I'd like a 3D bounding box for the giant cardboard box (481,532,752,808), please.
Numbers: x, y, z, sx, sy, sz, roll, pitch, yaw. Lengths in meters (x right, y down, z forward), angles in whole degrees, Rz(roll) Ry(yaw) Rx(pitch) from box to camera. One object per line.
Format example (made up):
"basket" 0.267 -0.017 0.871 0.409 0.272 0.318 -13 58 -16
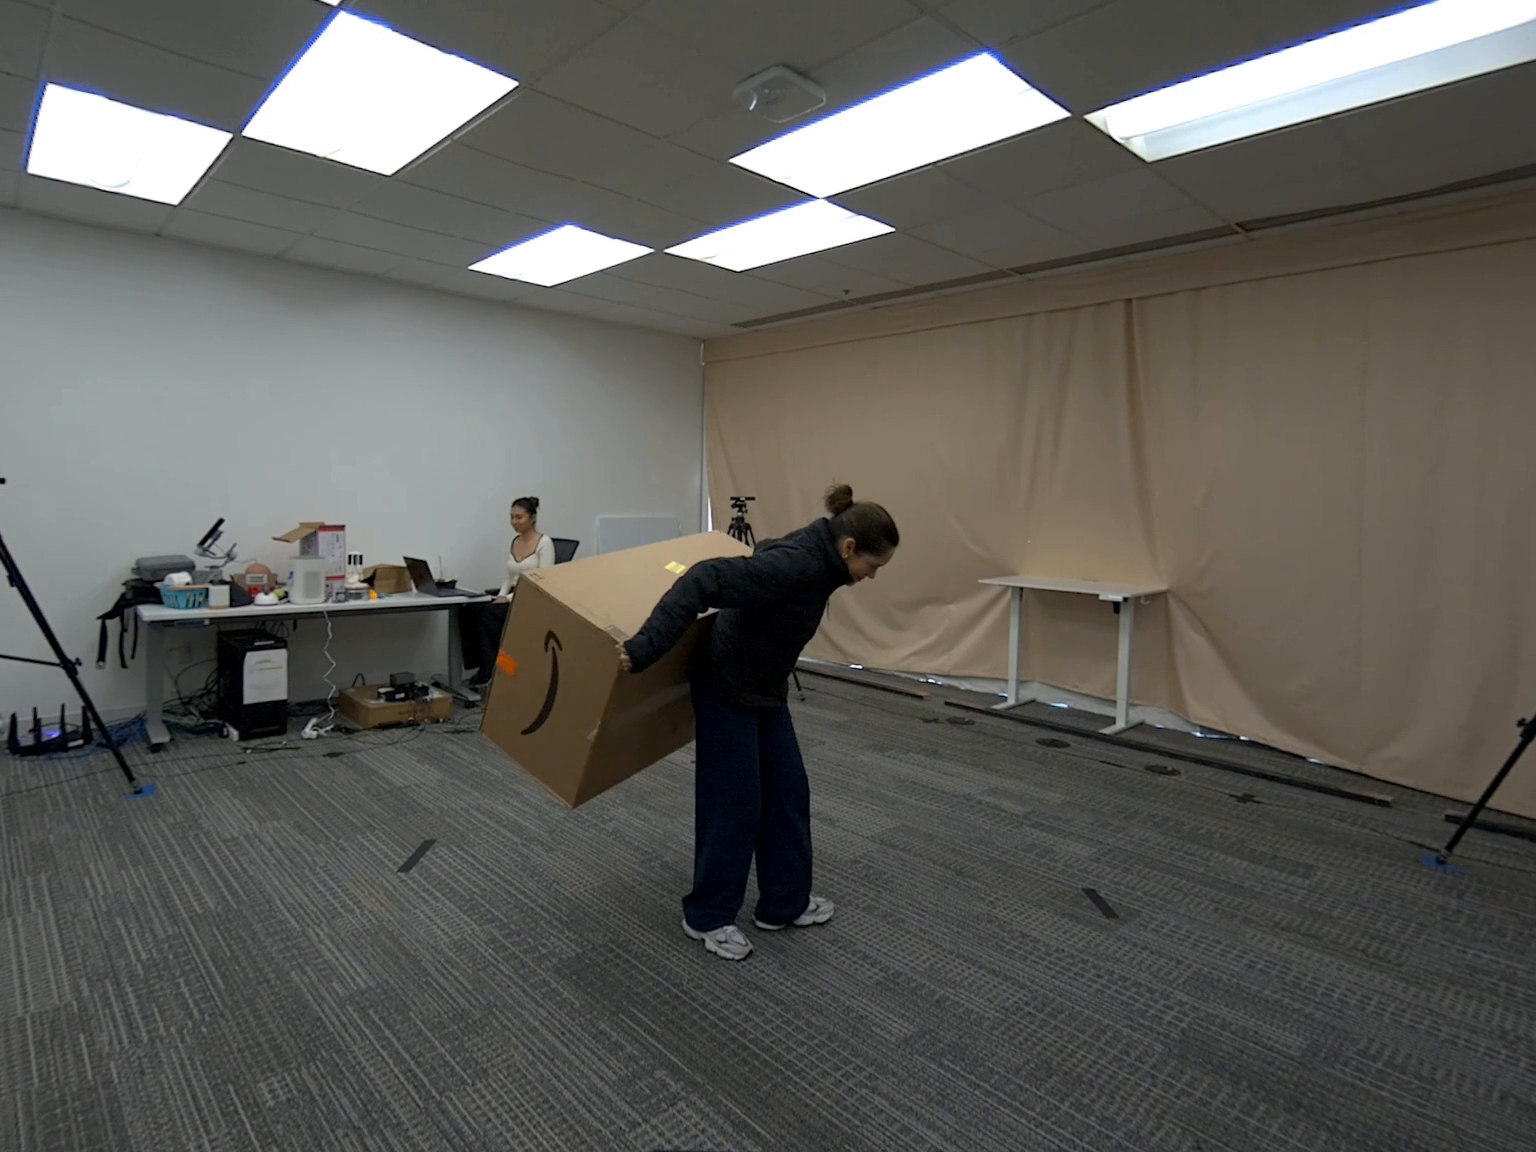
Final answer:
"giant cardboard box" -0.380 0.255 2.842 0.437 0.572 1.010 29 23 24
